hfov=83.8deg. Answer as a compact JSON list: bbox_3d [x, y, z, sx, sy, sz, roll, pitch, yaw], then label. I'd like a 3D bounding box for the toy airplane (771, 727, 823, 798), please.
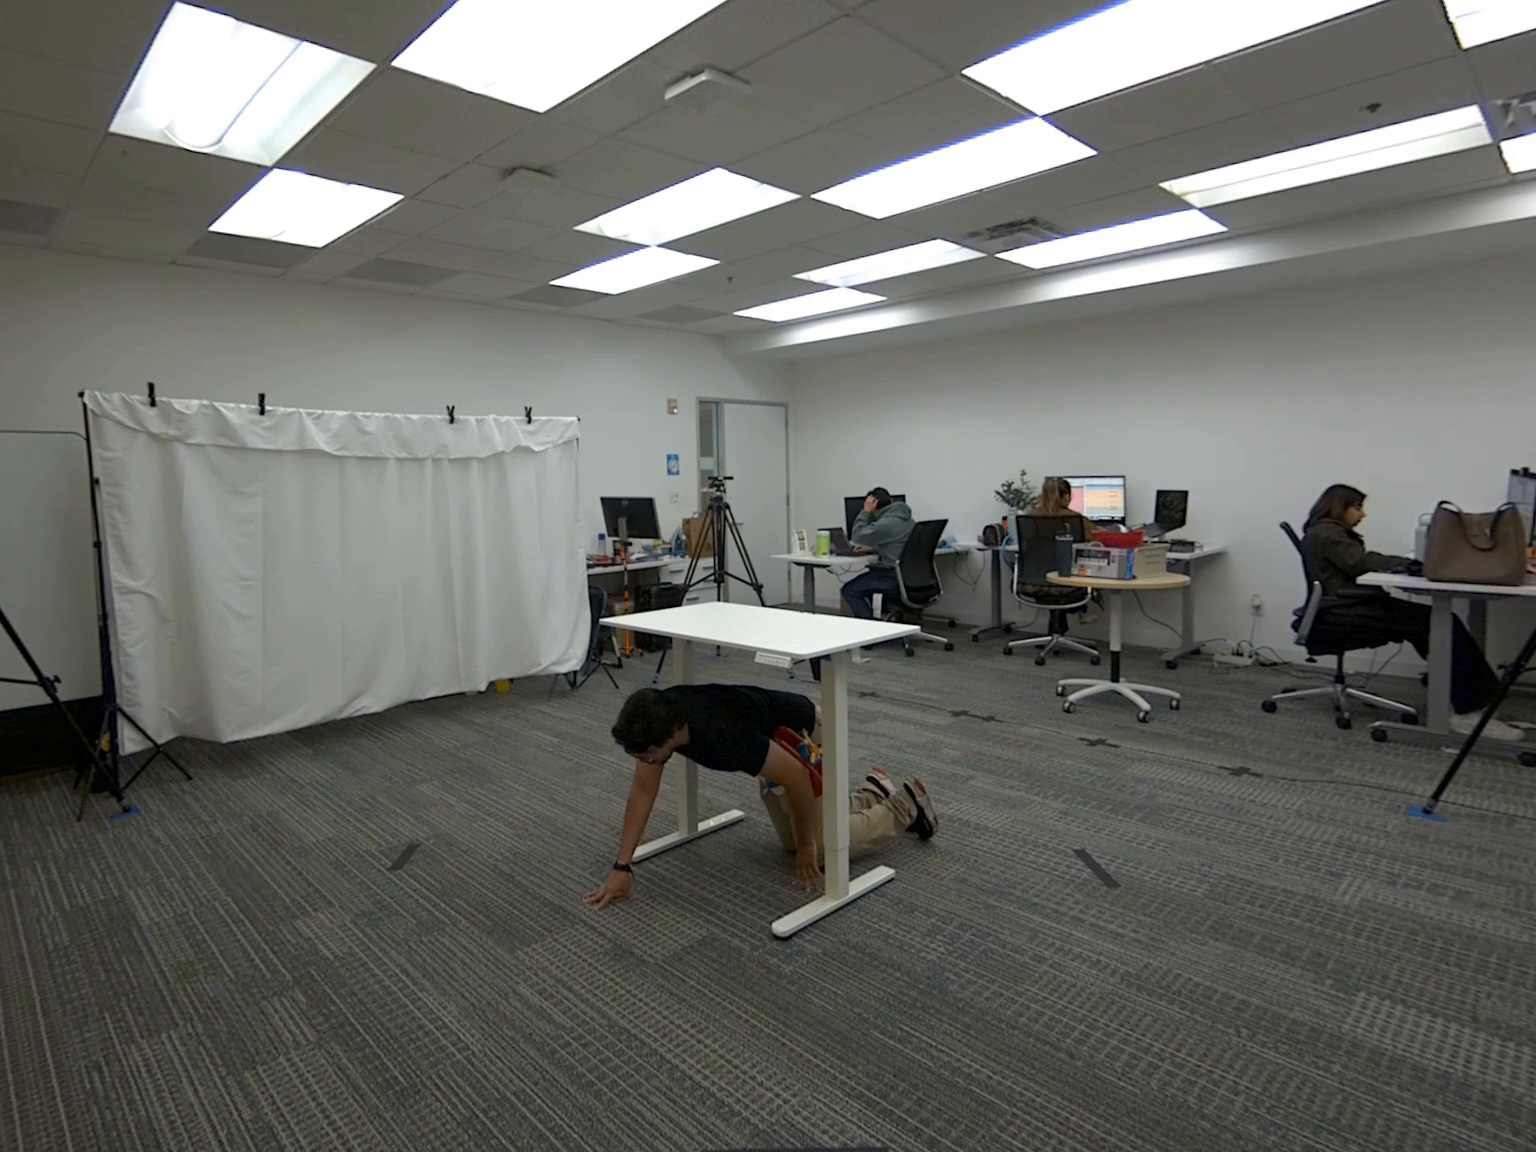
[{"bbox_3d":[0.084,0.671,2.957,0.253,0.257,0.157,19,16,5],"label":"toy airplane"}]
